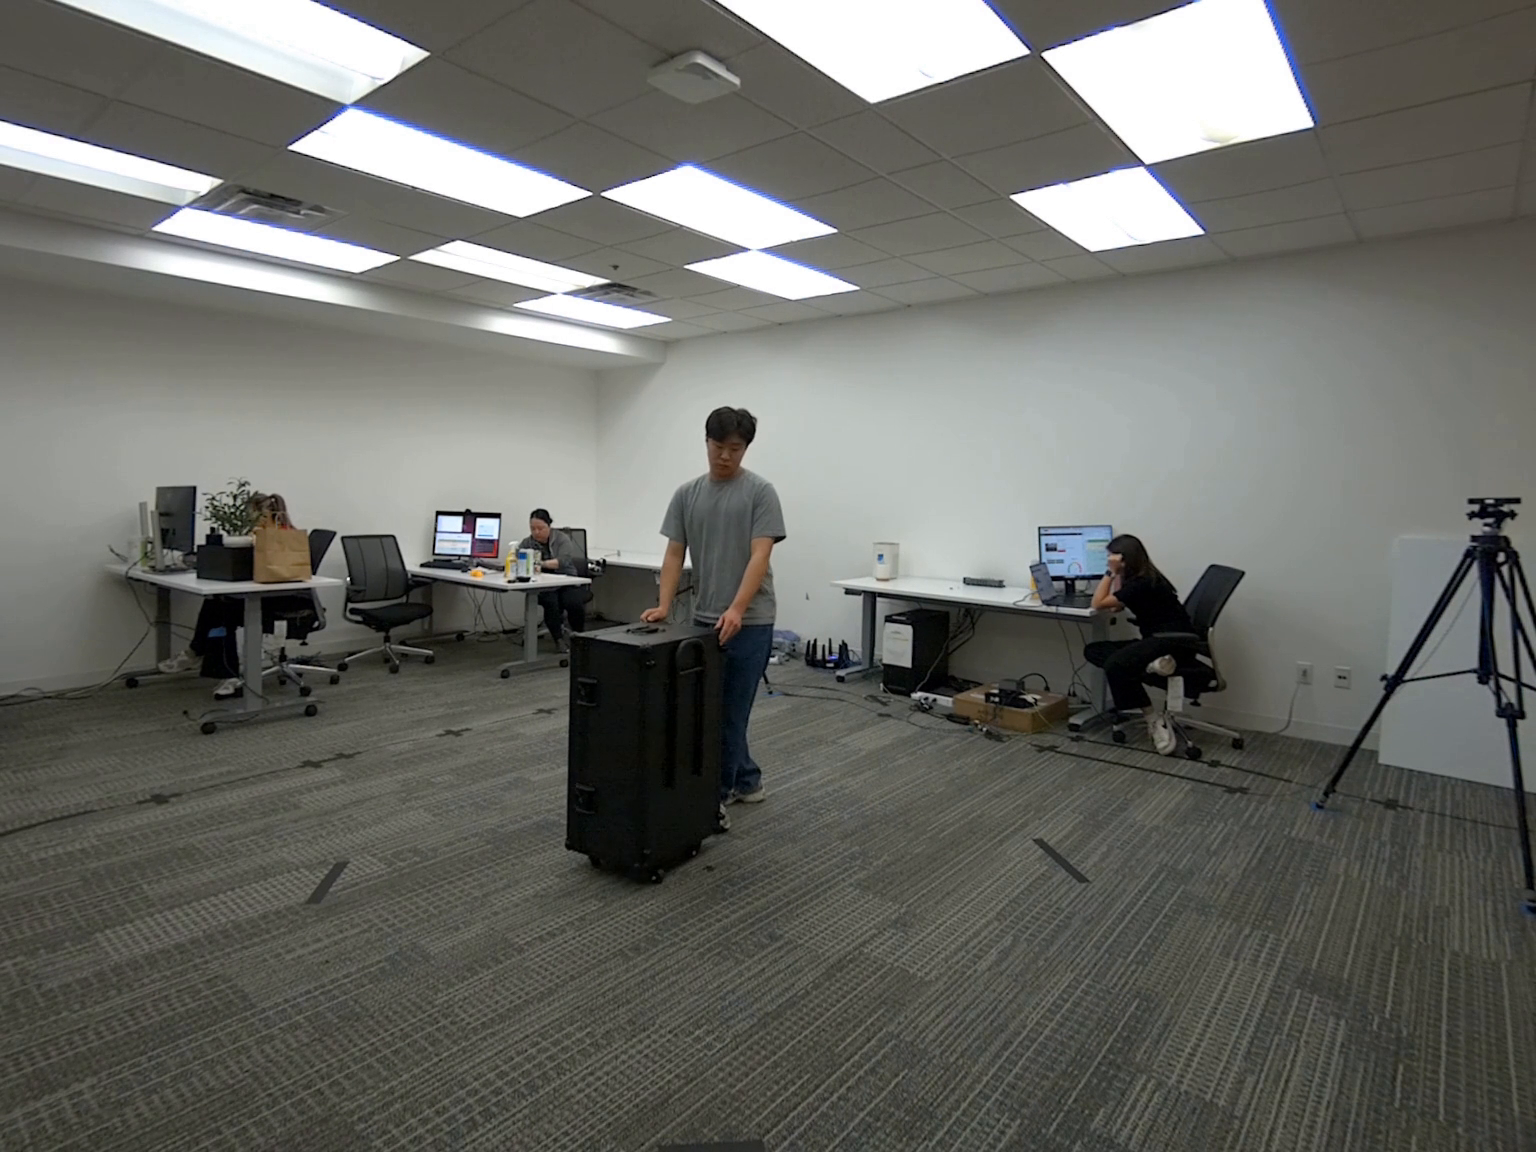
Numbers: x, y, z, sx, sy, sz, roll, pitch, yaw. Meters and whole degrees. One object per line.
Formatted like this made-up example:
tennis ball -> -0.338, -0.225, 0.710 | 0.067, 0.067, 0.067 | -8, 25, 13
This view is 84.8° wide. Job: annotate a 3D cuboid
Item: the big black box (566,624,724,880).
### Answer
big black box -> -0.451, 0.633, 3.162 | 0.408, 0.860, 0.506 | 4, 3, 32
